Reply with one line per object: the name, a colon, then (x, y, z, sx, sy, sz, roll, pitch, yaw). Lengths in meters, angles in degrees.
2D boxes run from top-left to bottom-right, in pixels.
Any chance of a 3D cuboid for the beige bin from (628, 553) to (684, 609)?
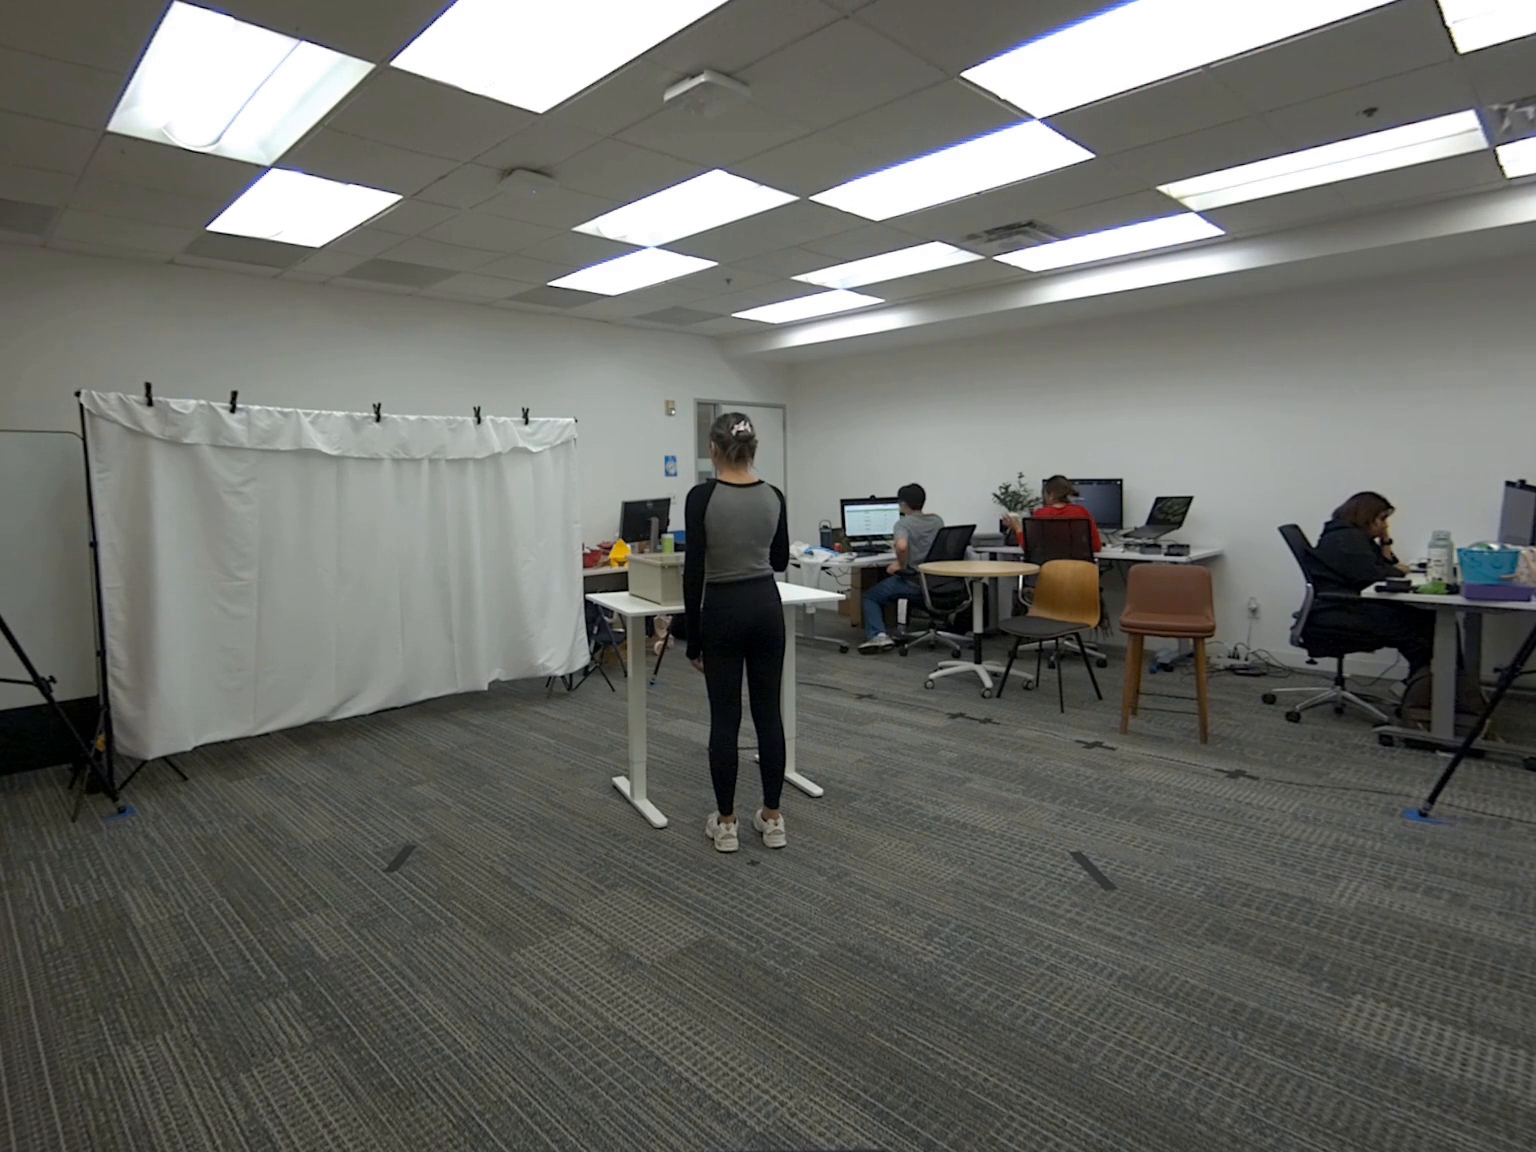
beige bin: (-0.371, 0.009, 3.715, 0.369, 0.188, 0.434, -5, 8, -27)
